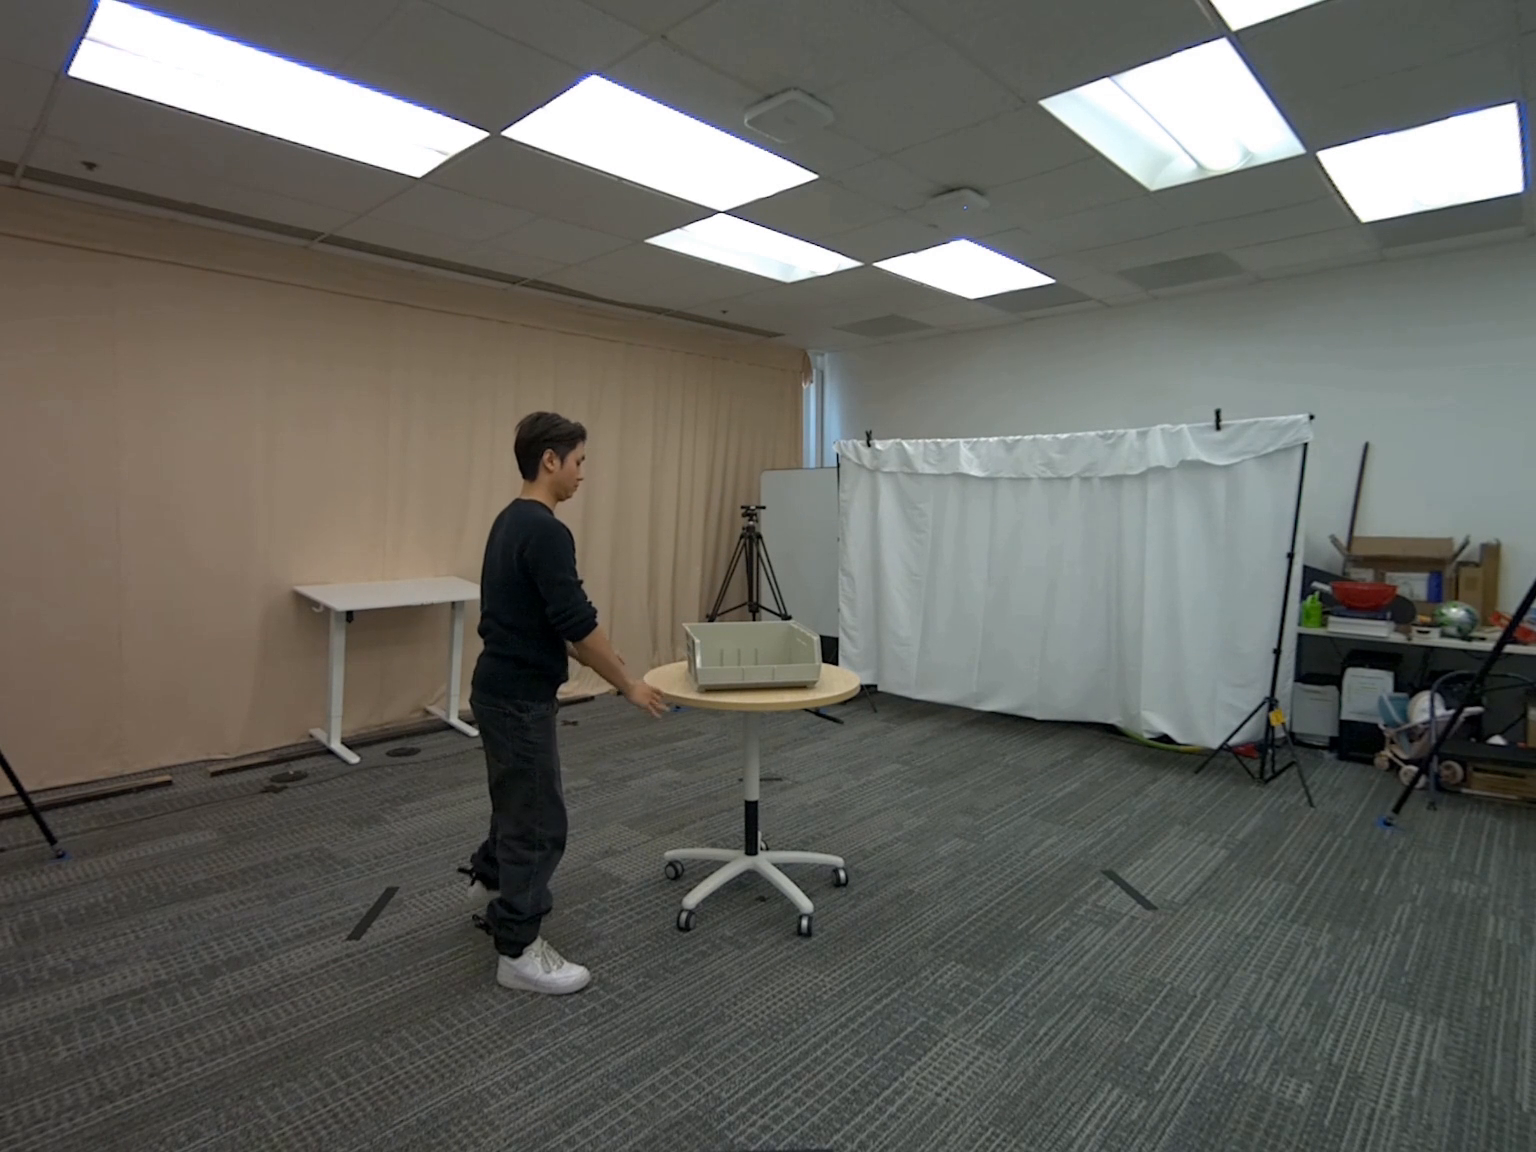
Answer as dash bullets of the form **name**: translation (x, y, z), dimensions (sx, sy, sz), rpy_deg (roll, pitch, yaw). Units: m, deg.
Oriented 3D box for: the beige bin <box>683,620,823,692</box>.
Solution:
- **beige bin**: translation (-0.063, 0.281, 2.917), dimensions (0.418, 0.188, 0.383), rpy_deg (-1, 5, -11)
